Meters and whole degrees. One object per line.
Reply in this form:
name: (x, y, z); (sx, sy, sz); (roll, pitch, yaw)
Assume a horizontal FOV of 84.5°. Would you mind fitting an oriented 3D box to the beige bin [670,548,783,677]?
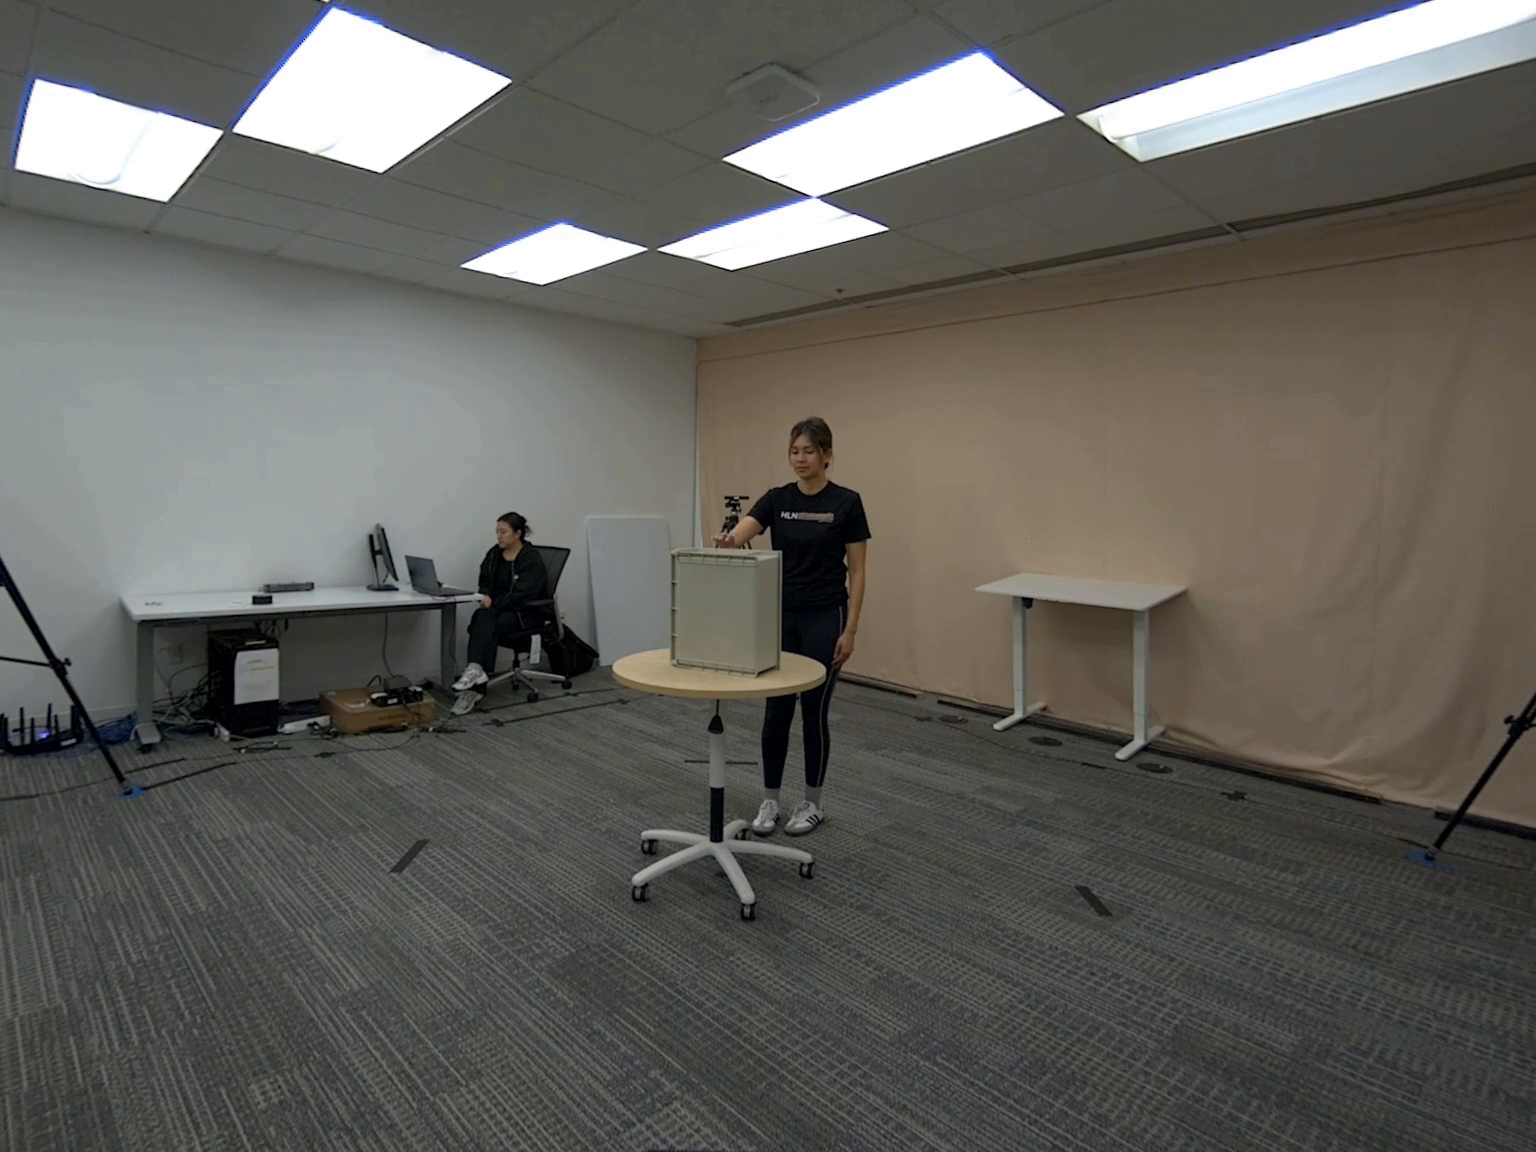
beige bin: (-0.168, 0.120, 2.984); (0.385, 0.421, 0.185); (3, 5, 29)
